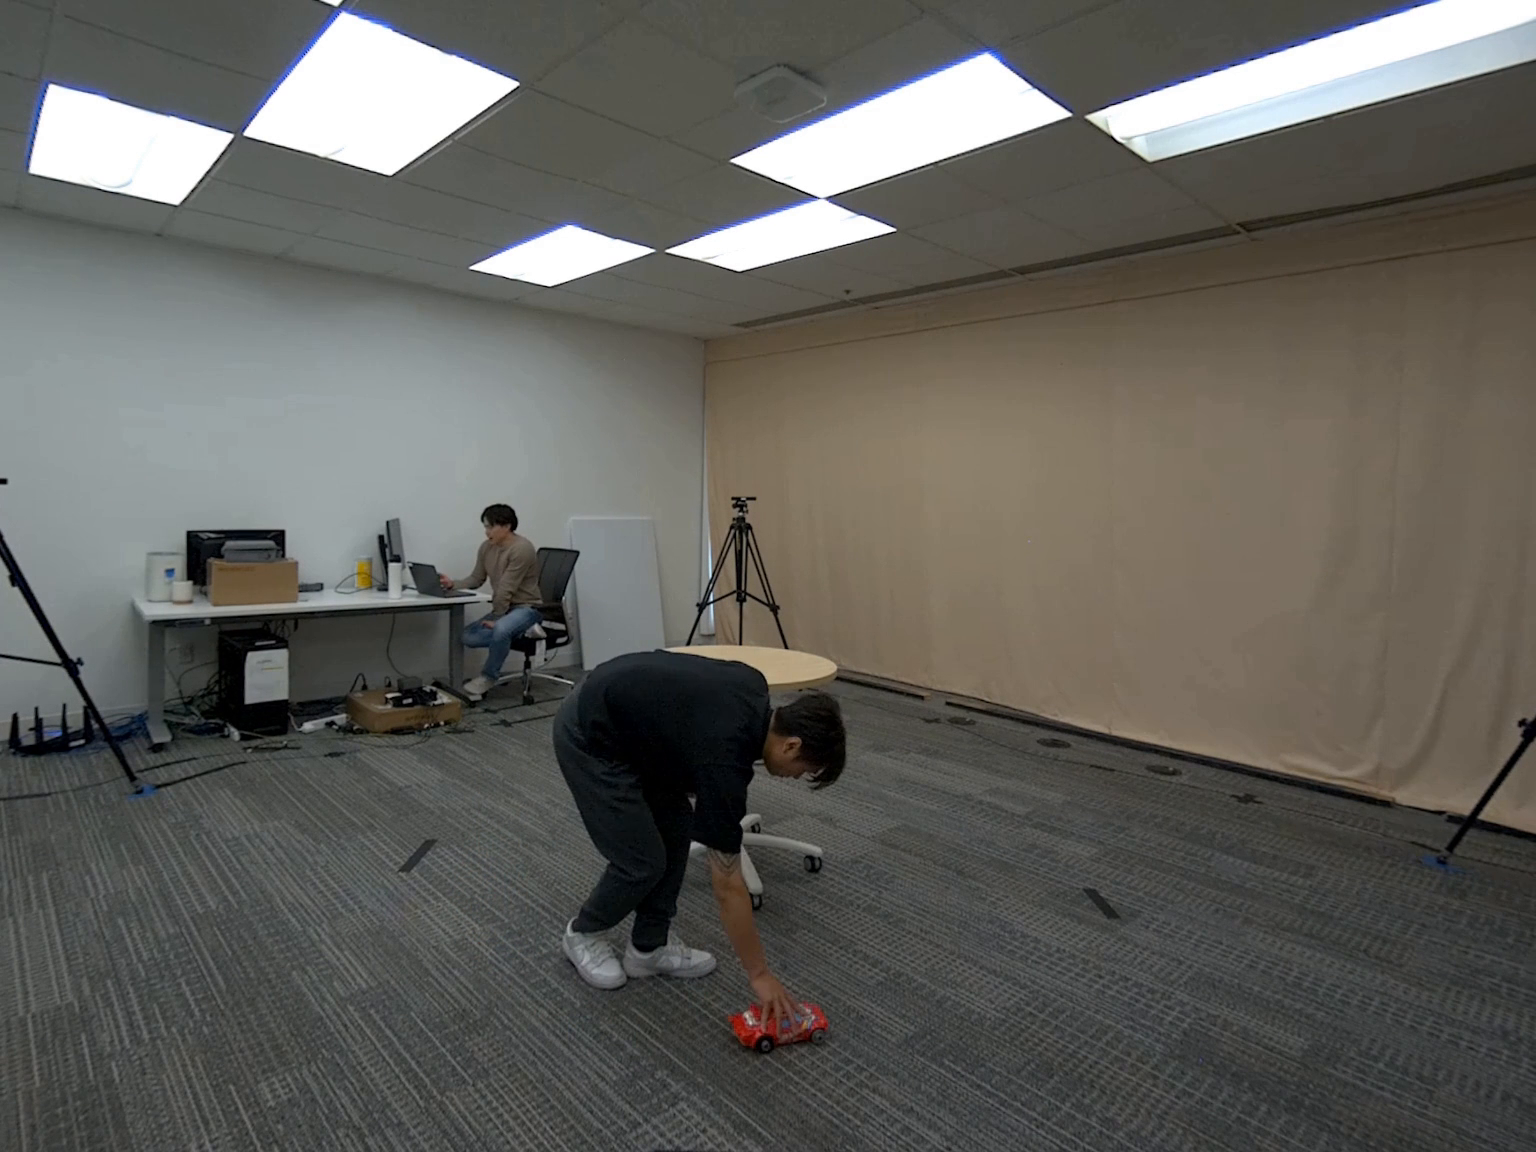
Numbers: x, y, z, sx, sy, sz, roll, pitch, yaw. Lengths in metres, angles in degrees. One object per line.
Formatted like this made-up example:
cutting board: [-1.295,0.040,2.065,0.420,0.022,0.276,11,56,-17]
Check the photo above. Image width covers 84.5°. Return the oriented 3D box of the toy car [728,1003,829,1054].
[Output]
toy car: [0.014,1.169,2.173,0.251,0.083,0.132,11,0,-17]
